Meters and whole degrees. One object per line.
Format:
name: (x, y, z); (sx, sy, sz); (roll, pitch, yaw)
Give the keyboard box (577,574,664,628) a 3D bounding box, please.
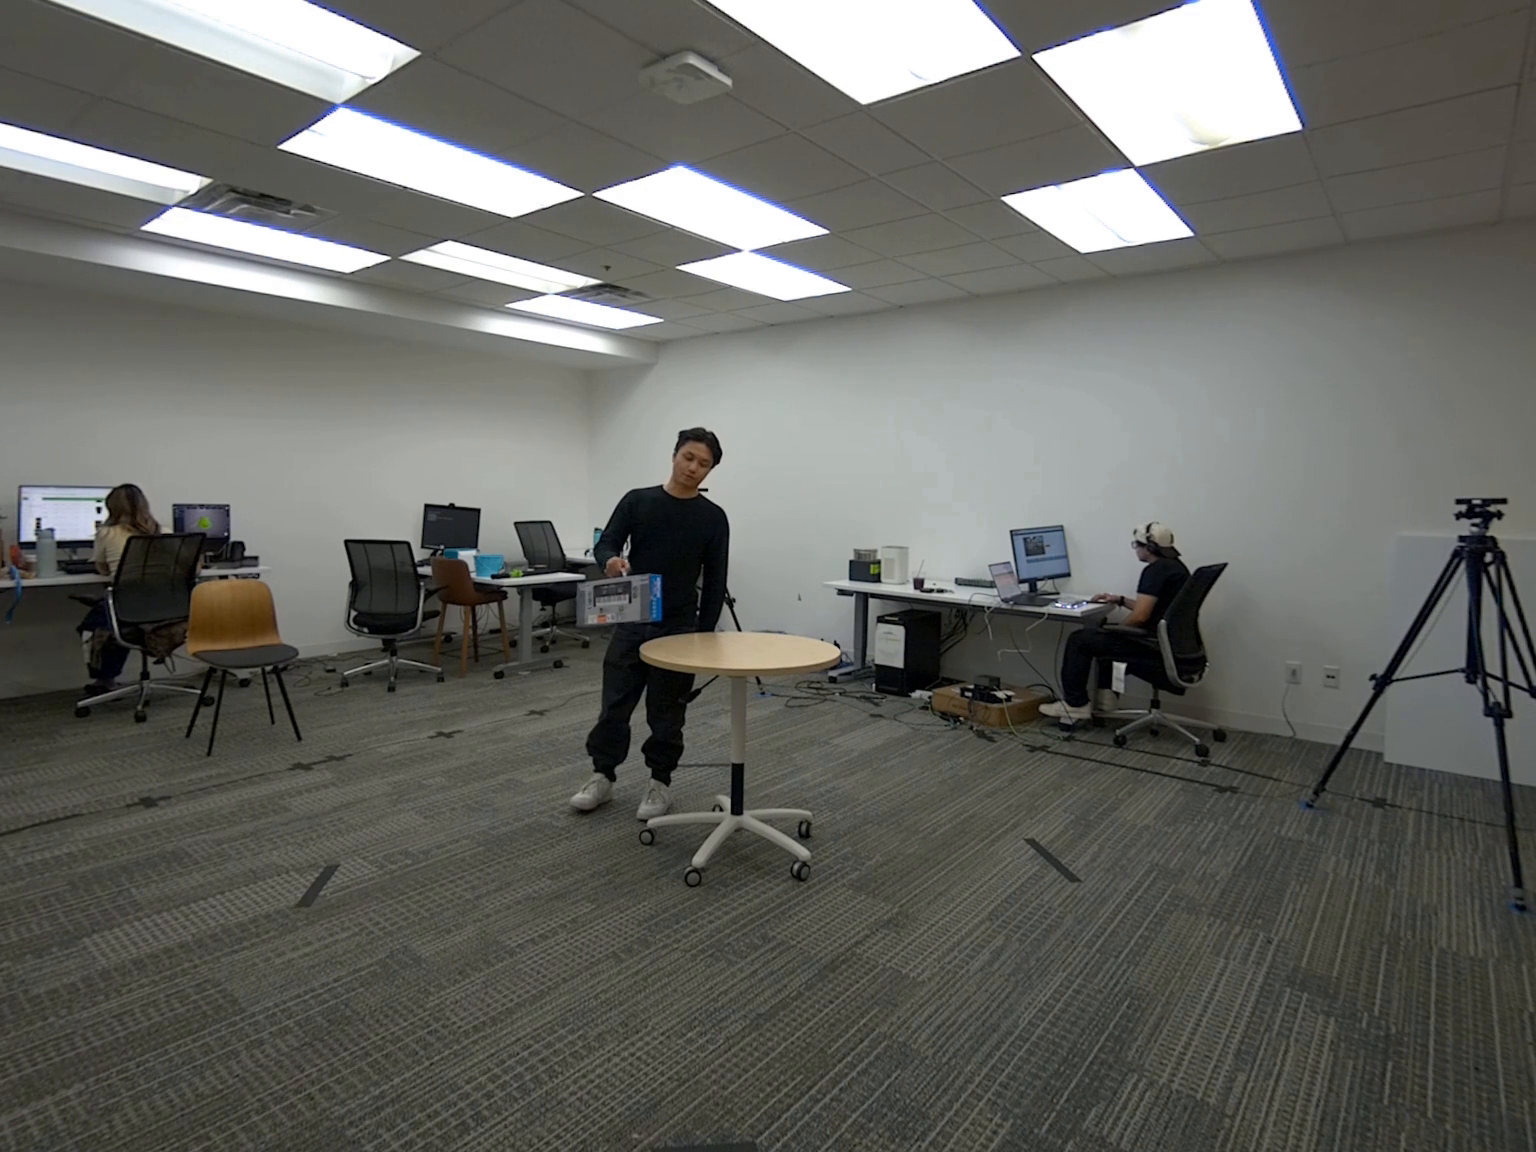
keyboard box: (-0.587, 0.100, 3.288); (0.449, 0.177, 0.057); (-7, -10, 40)
